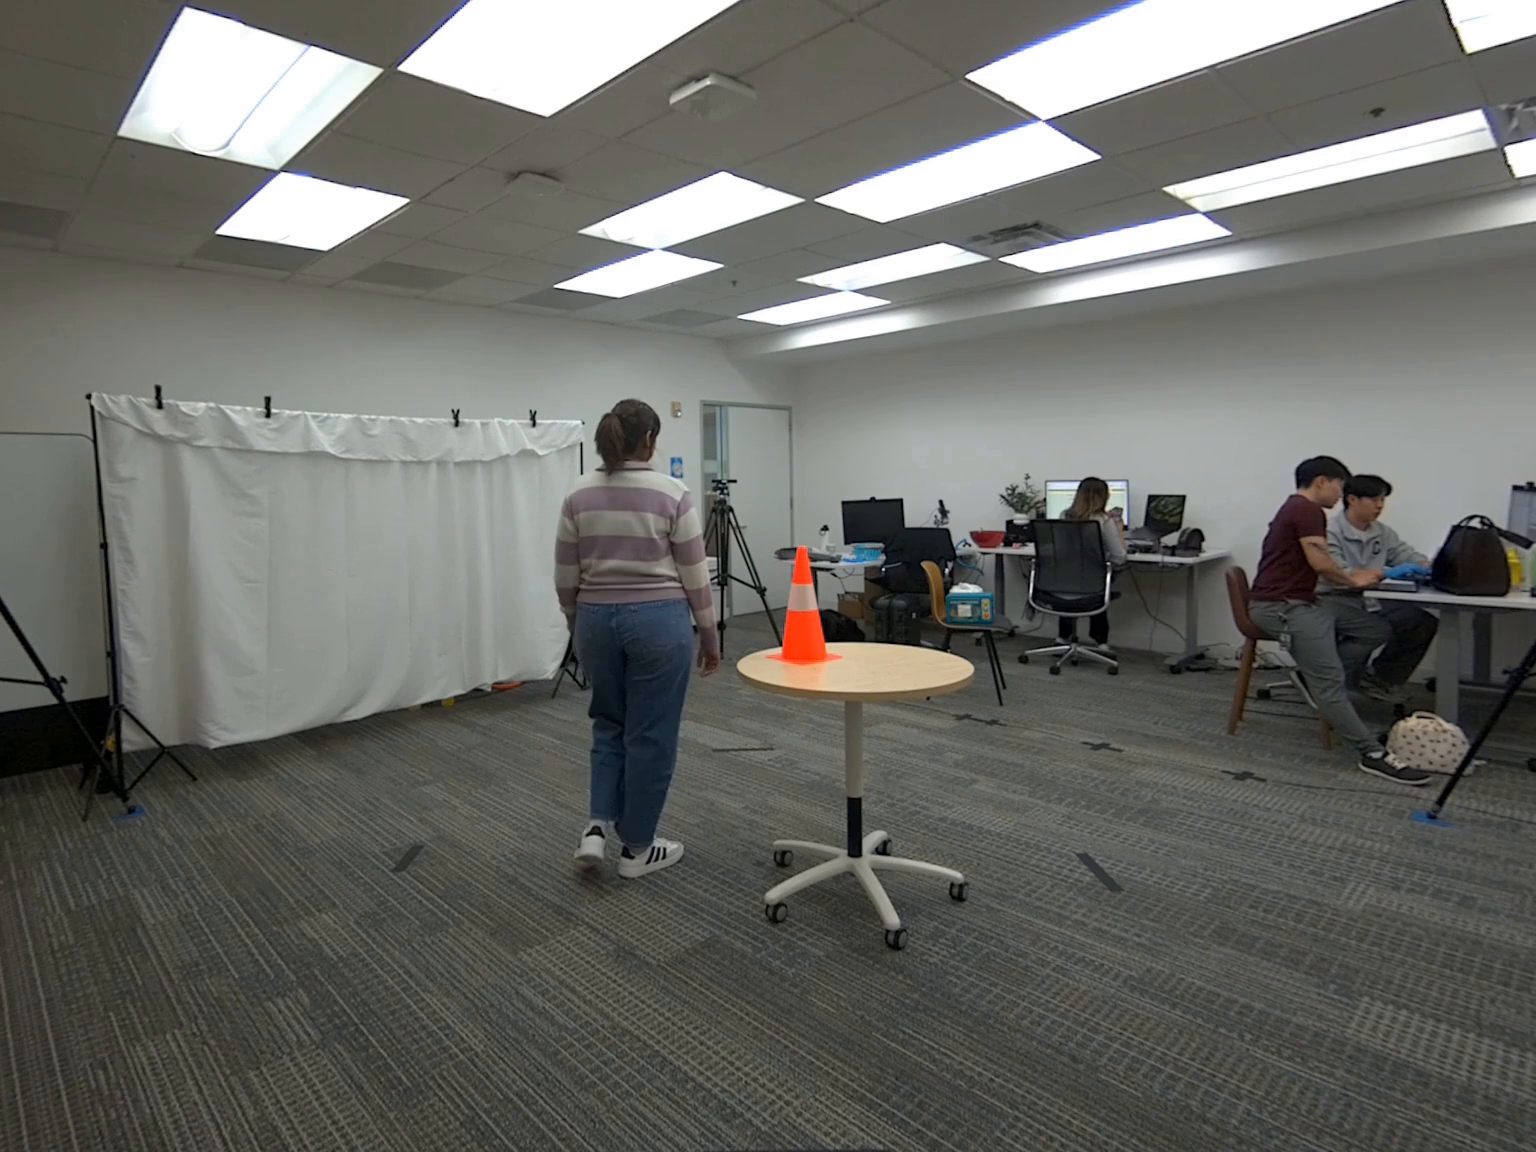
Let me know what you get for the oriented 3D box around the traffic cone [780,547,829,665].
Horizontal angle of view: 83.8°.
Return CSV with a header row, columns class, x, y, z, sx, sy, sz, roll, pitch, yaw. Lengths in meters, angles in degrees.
class,x,y,z,sx,sy,sz,roll,pitch,yaw
traffic cone,0.116,0.091,2.932,0.211,0.383,0.198,2,3,42
